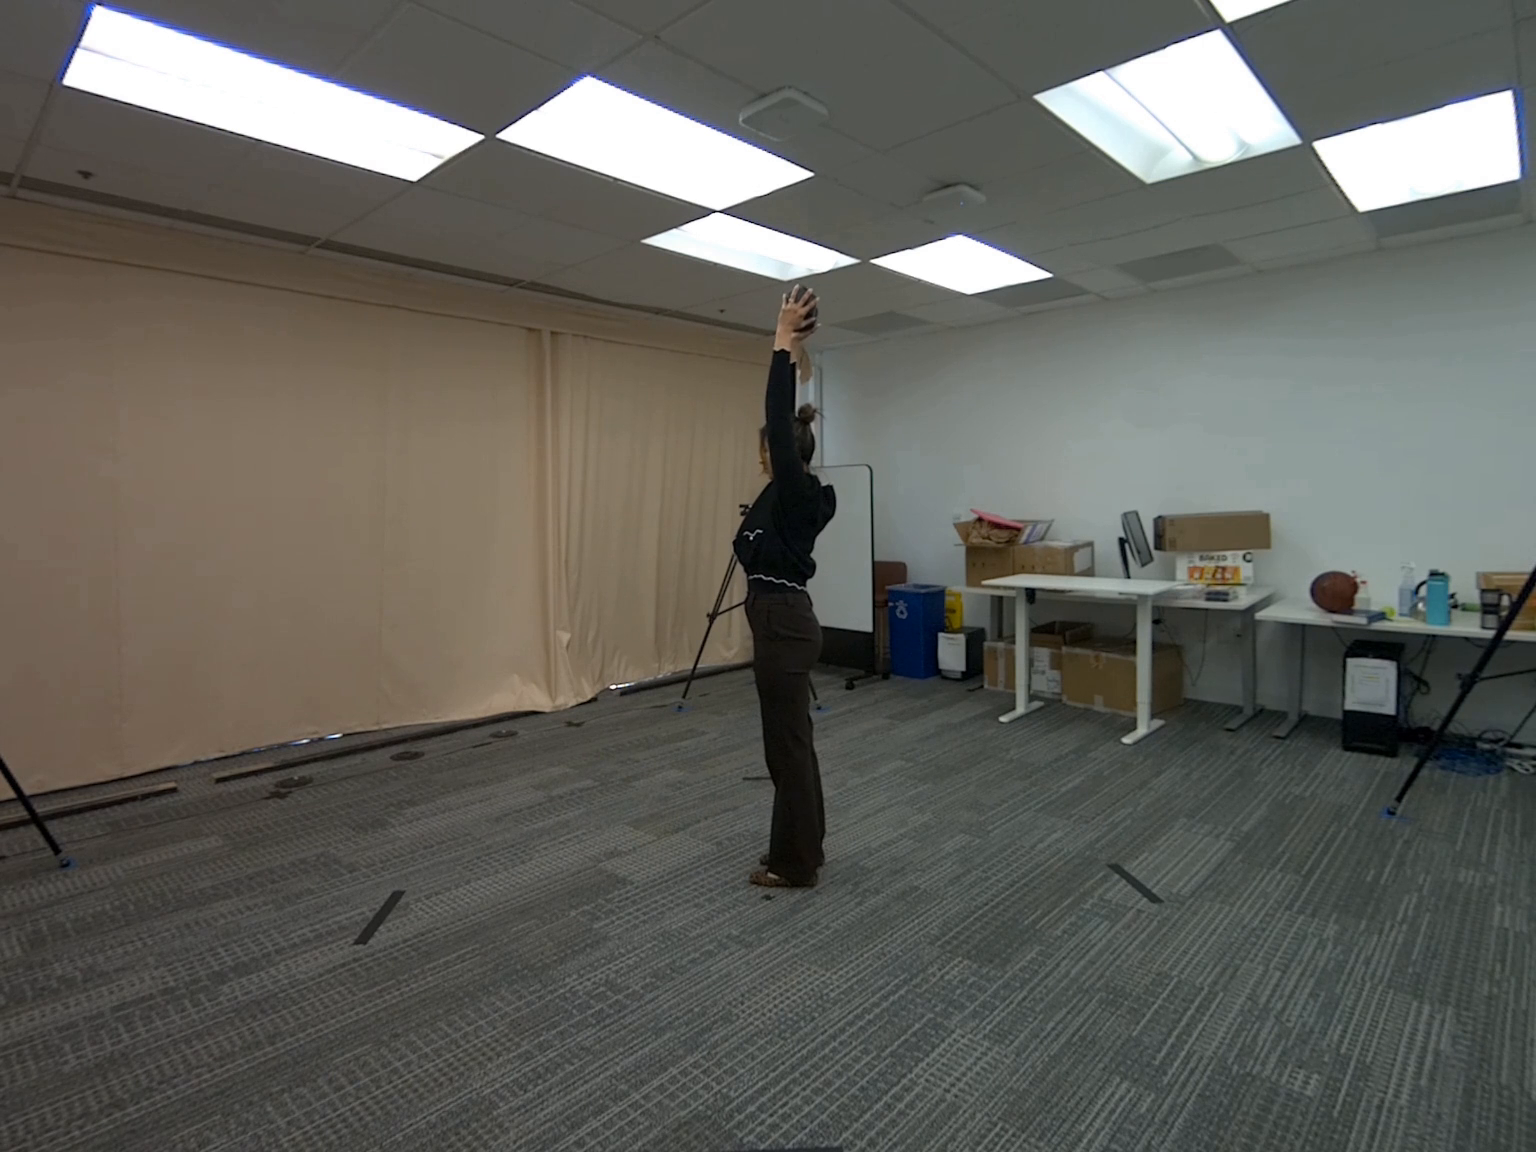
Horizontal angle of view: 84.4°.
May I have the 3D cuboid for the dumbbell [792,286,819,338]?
[{"bbox_3d":[0.112,-0.953,3.055,0.124,0.108,0.292,-22,5,9],"label":"dumbbell"}]
